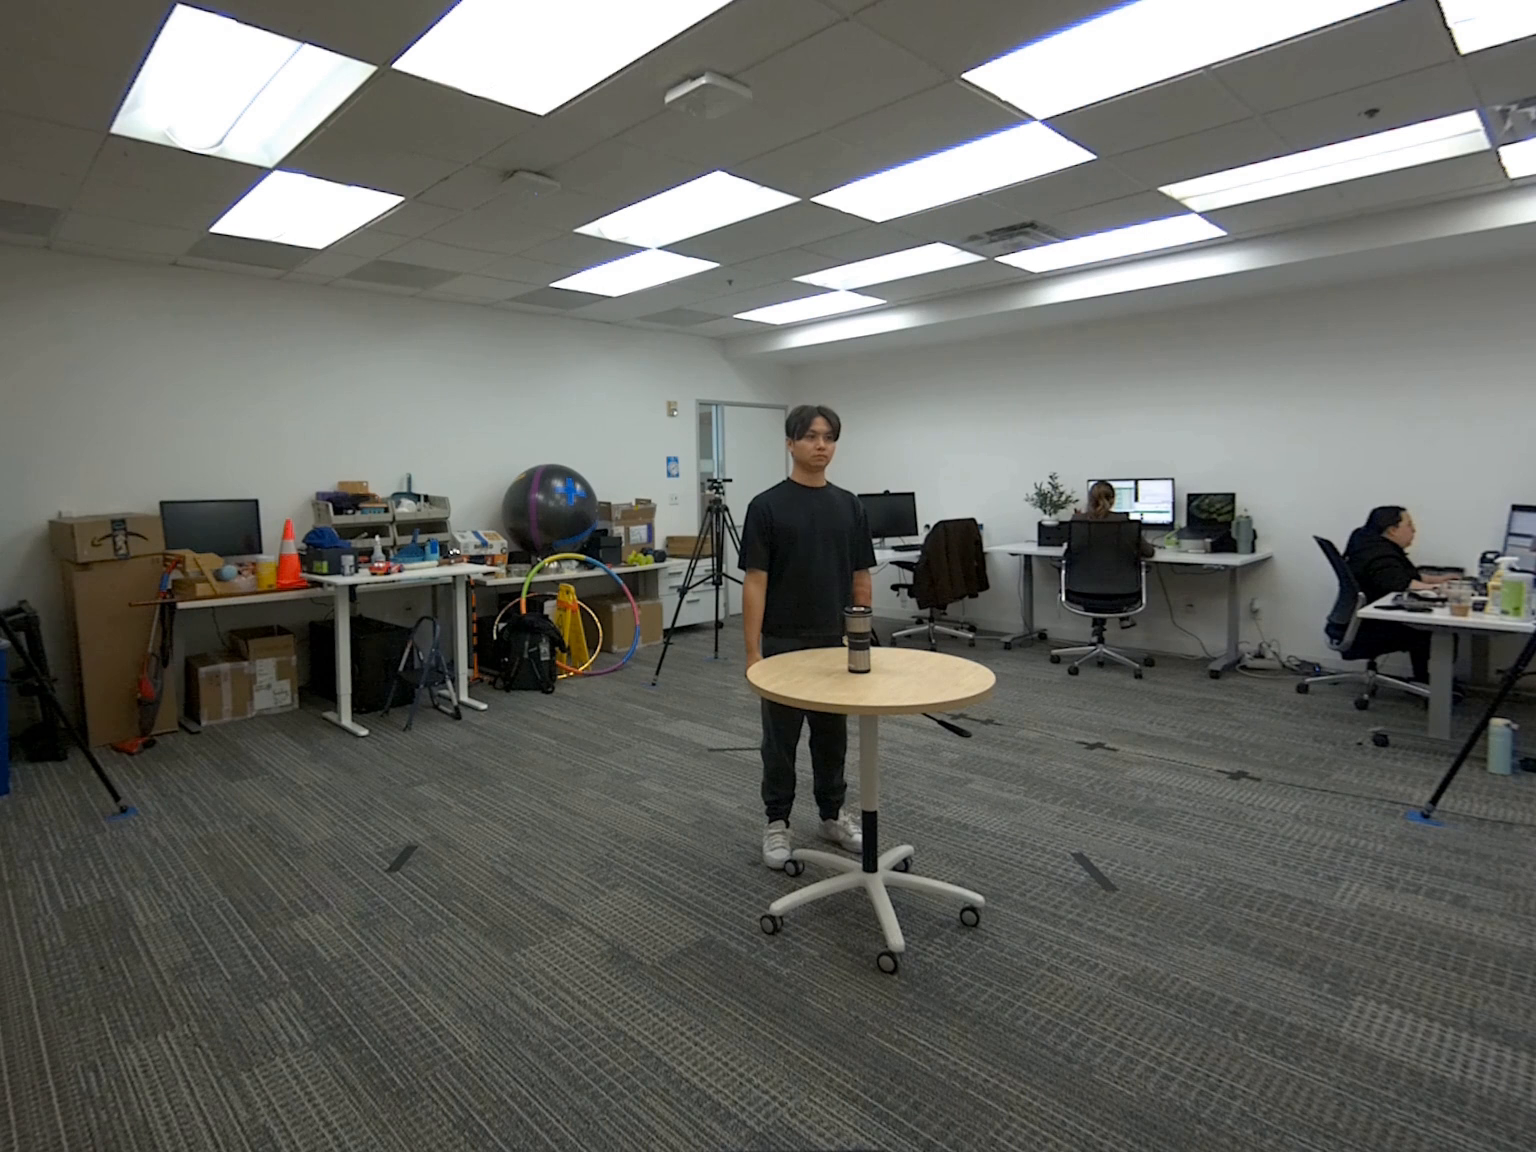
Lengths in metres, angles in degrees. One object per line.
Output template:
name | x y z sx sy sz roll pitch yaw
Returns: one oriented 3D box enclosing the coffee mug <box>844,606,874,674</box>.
coffee mug | 0.293 0.201 2.712 0.090 0.202 0.119 -5 5 41
